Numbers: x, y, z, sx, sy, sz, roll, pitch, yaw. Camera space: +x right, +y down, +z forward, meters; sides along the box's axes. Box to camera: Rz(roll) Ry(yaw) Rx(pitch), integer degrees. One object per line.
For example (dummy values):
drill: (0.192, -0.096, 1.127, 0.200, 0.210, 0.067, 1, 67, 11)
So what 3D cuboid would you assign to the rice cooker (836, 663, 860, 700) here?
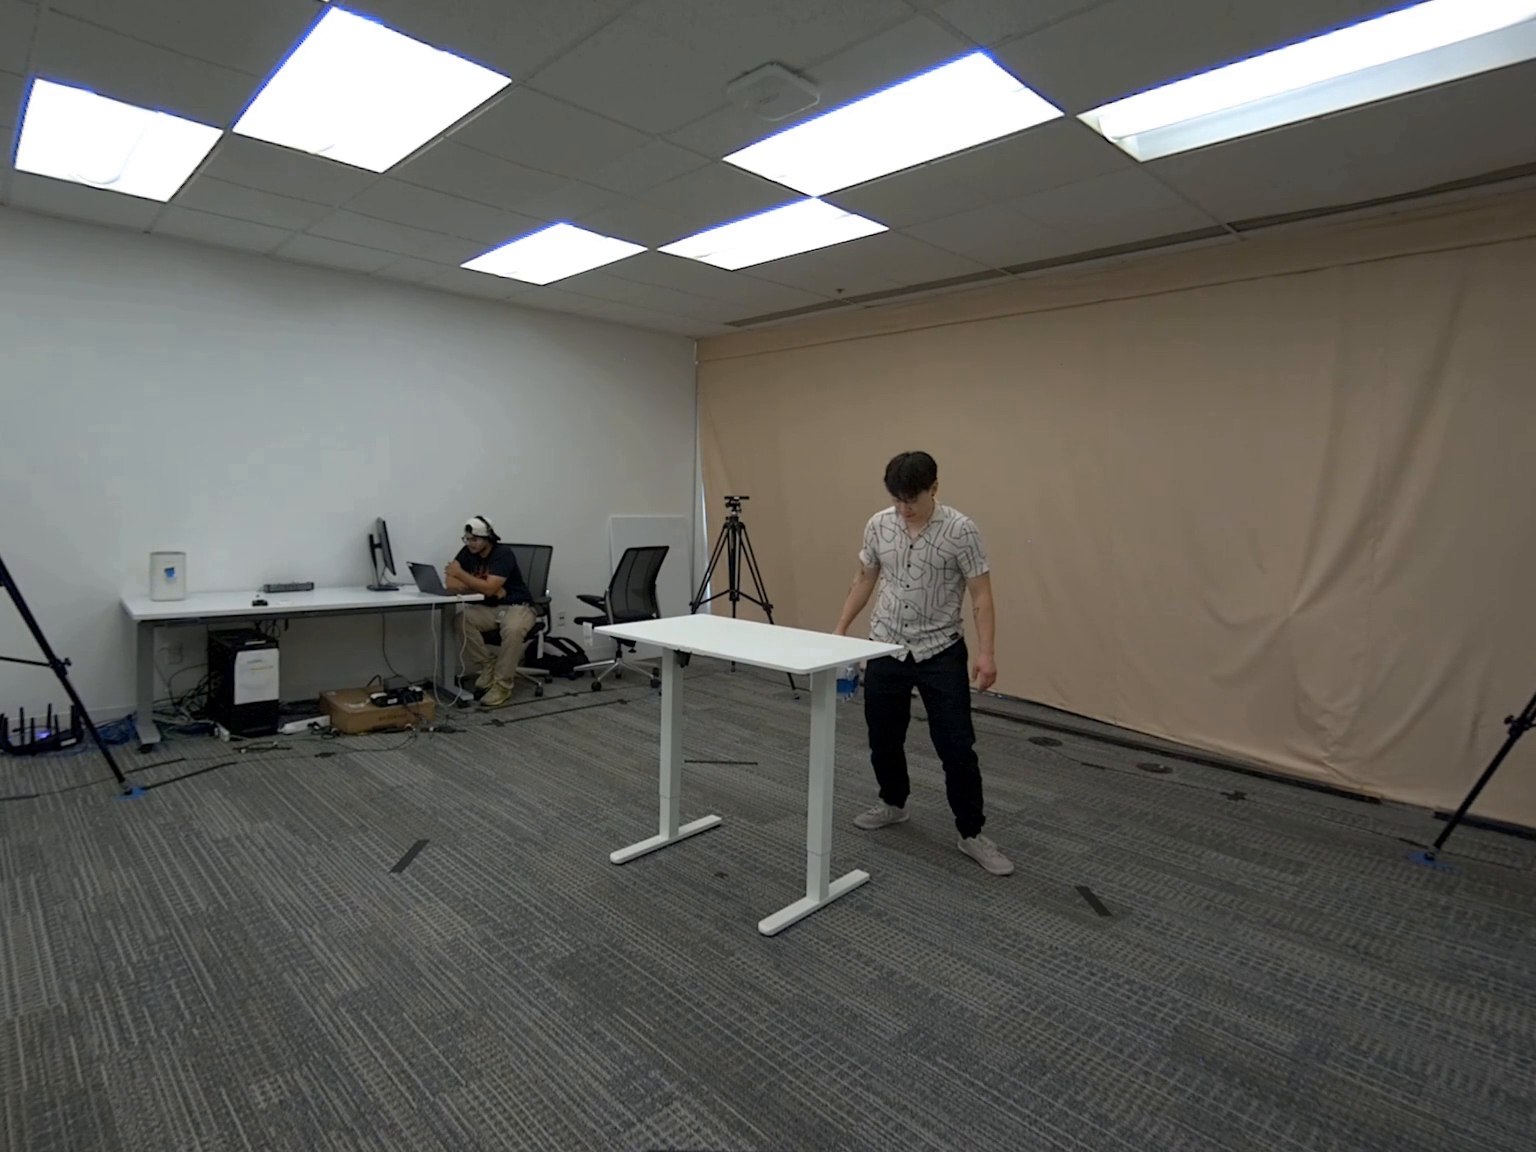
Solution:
rice cooker: (0.290, 0.407, 3.642, 0.221, 0.231, 0.218, 4, 8, 19)
